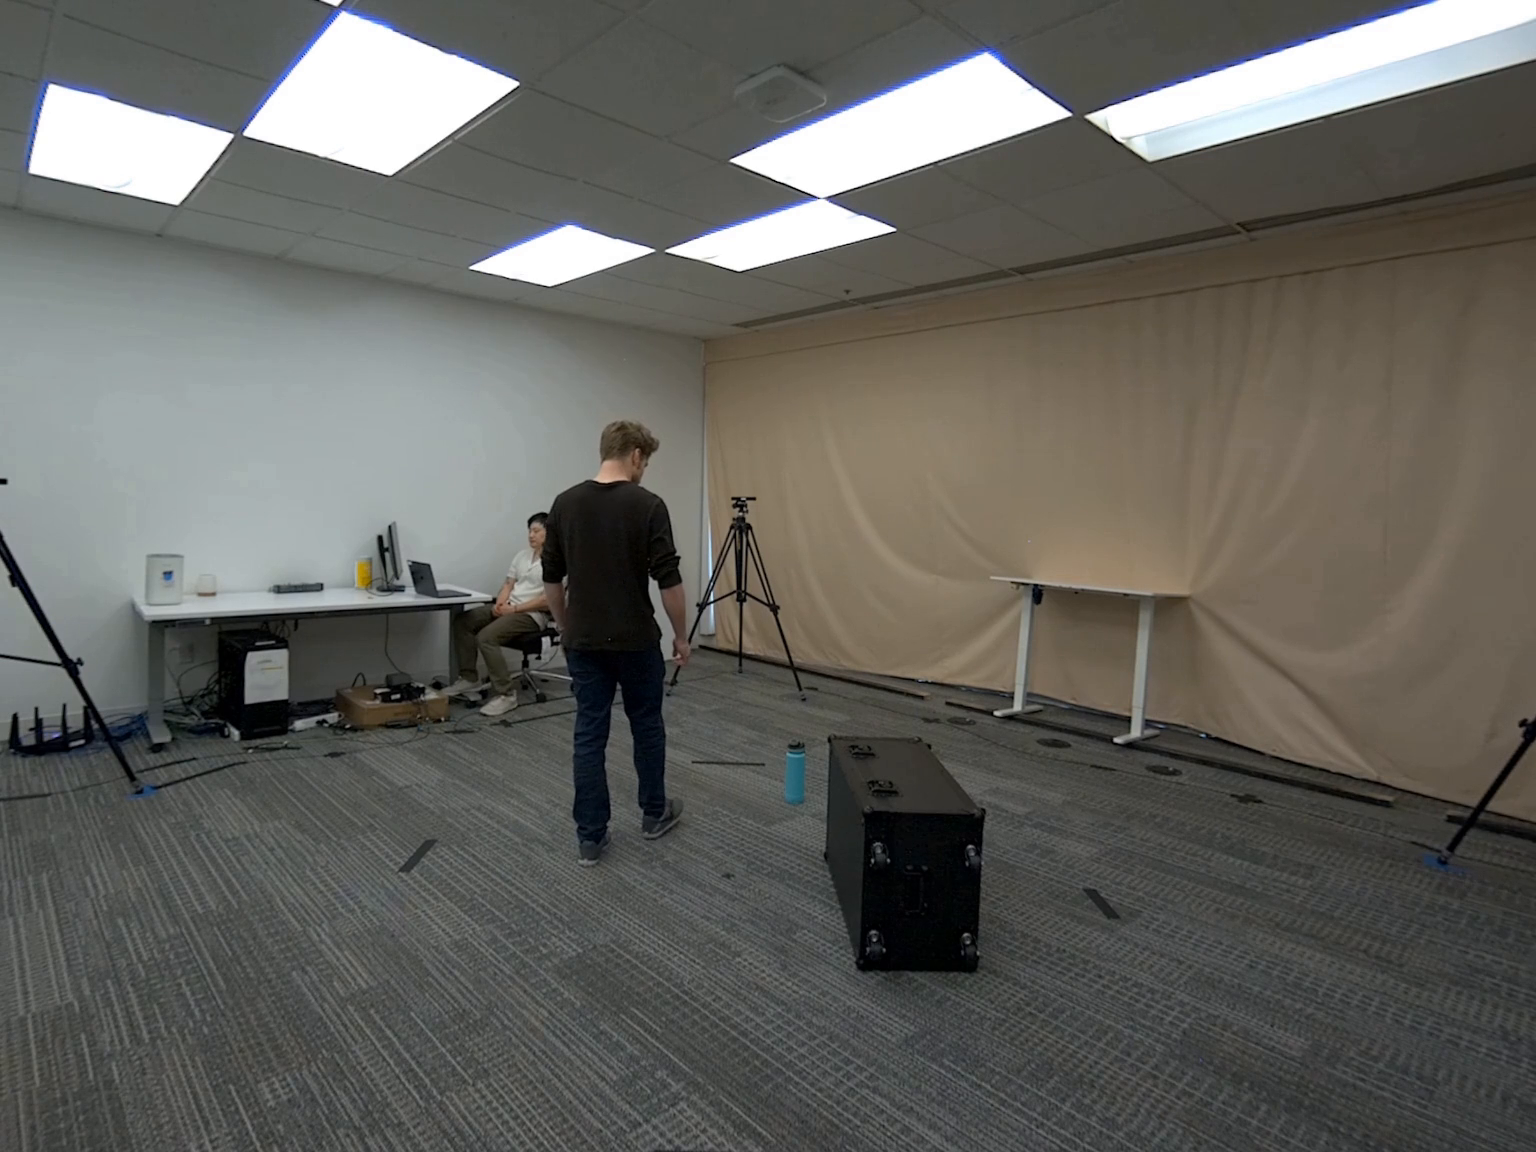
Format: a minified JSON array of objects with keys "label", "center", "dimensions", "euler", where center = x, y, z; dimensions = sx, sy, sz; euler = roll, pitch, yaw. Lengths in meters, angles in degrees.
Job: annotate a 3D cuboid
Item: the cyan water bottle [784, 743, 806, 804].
[{"label":"cyan water bottle","center":[0.119,0.905,3.922],"dimensions":[0.092,0.283,0.092],"euler":[3,2,-2]}]
